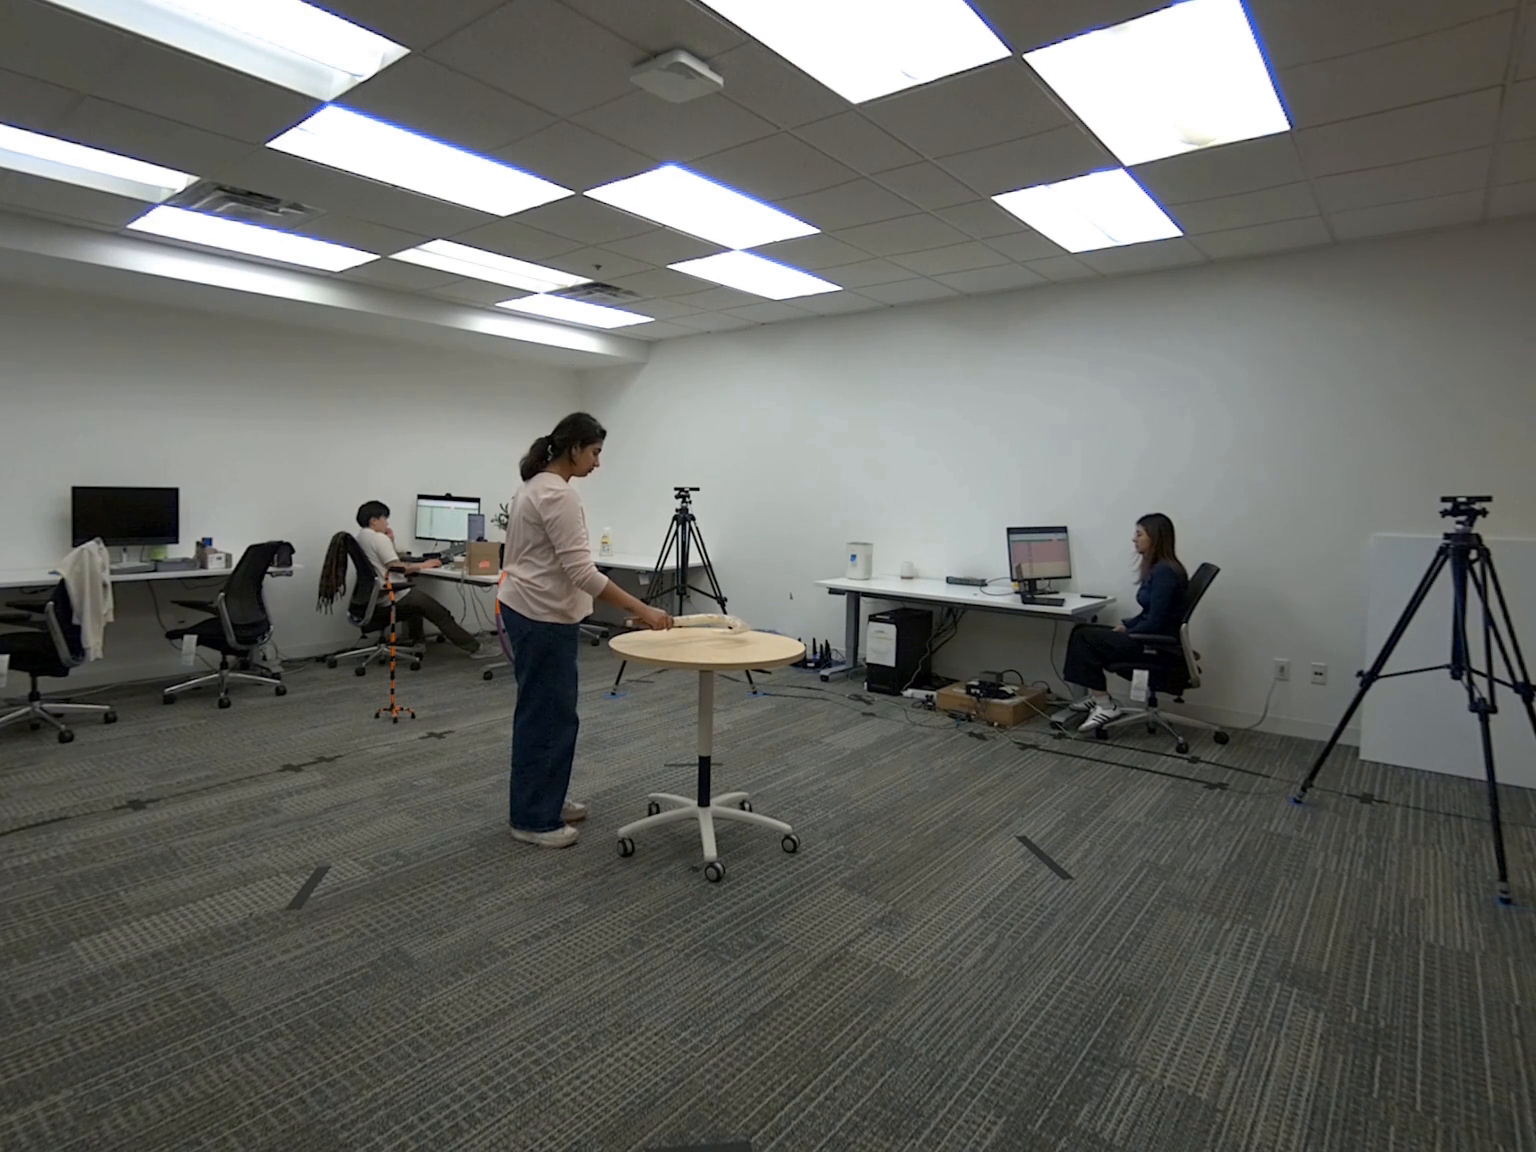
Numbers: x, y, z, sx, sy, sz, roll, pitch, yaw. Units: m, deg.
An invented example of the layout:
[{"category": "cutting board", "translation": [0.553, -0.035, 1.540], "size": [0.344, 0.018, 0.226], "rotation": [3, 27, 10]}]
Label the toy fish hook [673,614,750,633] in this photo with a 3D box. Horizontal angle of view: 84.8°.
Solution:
[{"category": "toy fish hook", "translation": [-0.325, 0.194, 3.307], "size": [0.495, 0.048, 0.231], "rotation": [0, 9, -24]}]
